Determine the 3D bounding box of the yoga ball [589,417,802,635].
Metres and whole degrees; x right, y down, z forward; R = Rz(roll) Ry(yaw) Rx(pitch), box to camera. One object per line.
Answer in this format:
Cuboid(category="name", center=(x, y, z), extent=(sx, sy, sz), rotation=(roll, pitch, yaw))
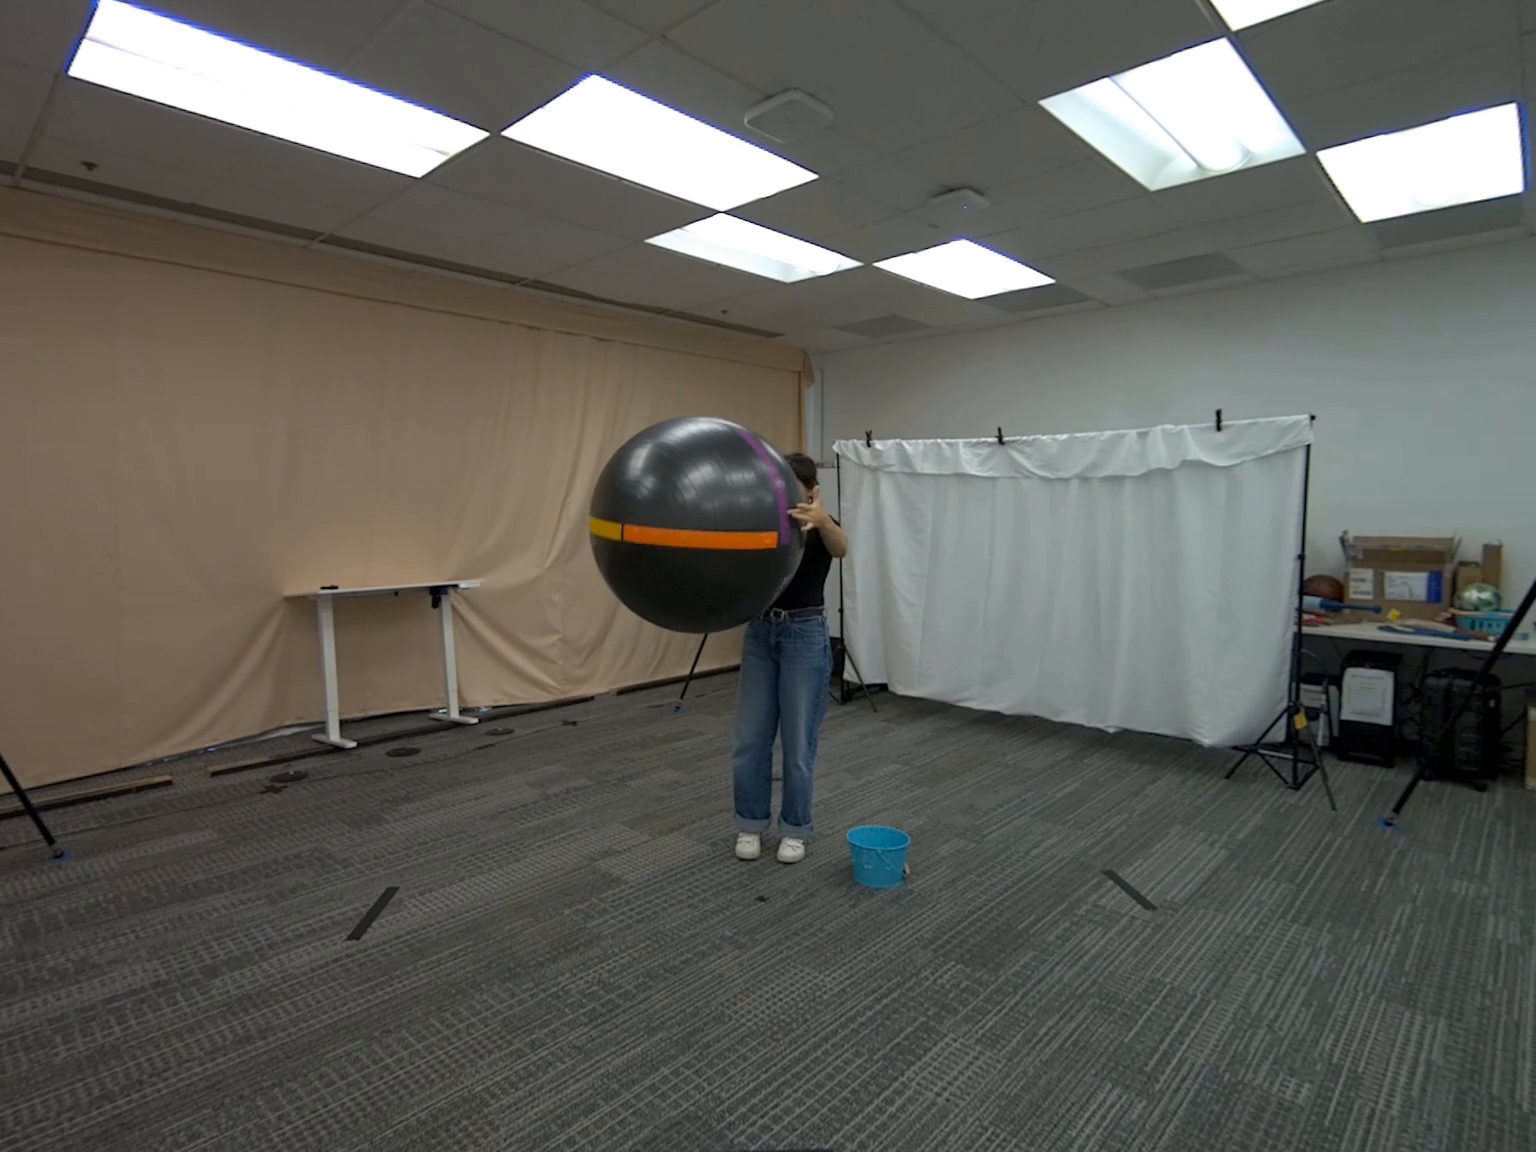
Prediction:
Cuboid(category="yoga ball", center=(-0.246, -0.171, 2.948), extent=(0.757, 0.756, 0.760), rotation=(0, 4, -2))
